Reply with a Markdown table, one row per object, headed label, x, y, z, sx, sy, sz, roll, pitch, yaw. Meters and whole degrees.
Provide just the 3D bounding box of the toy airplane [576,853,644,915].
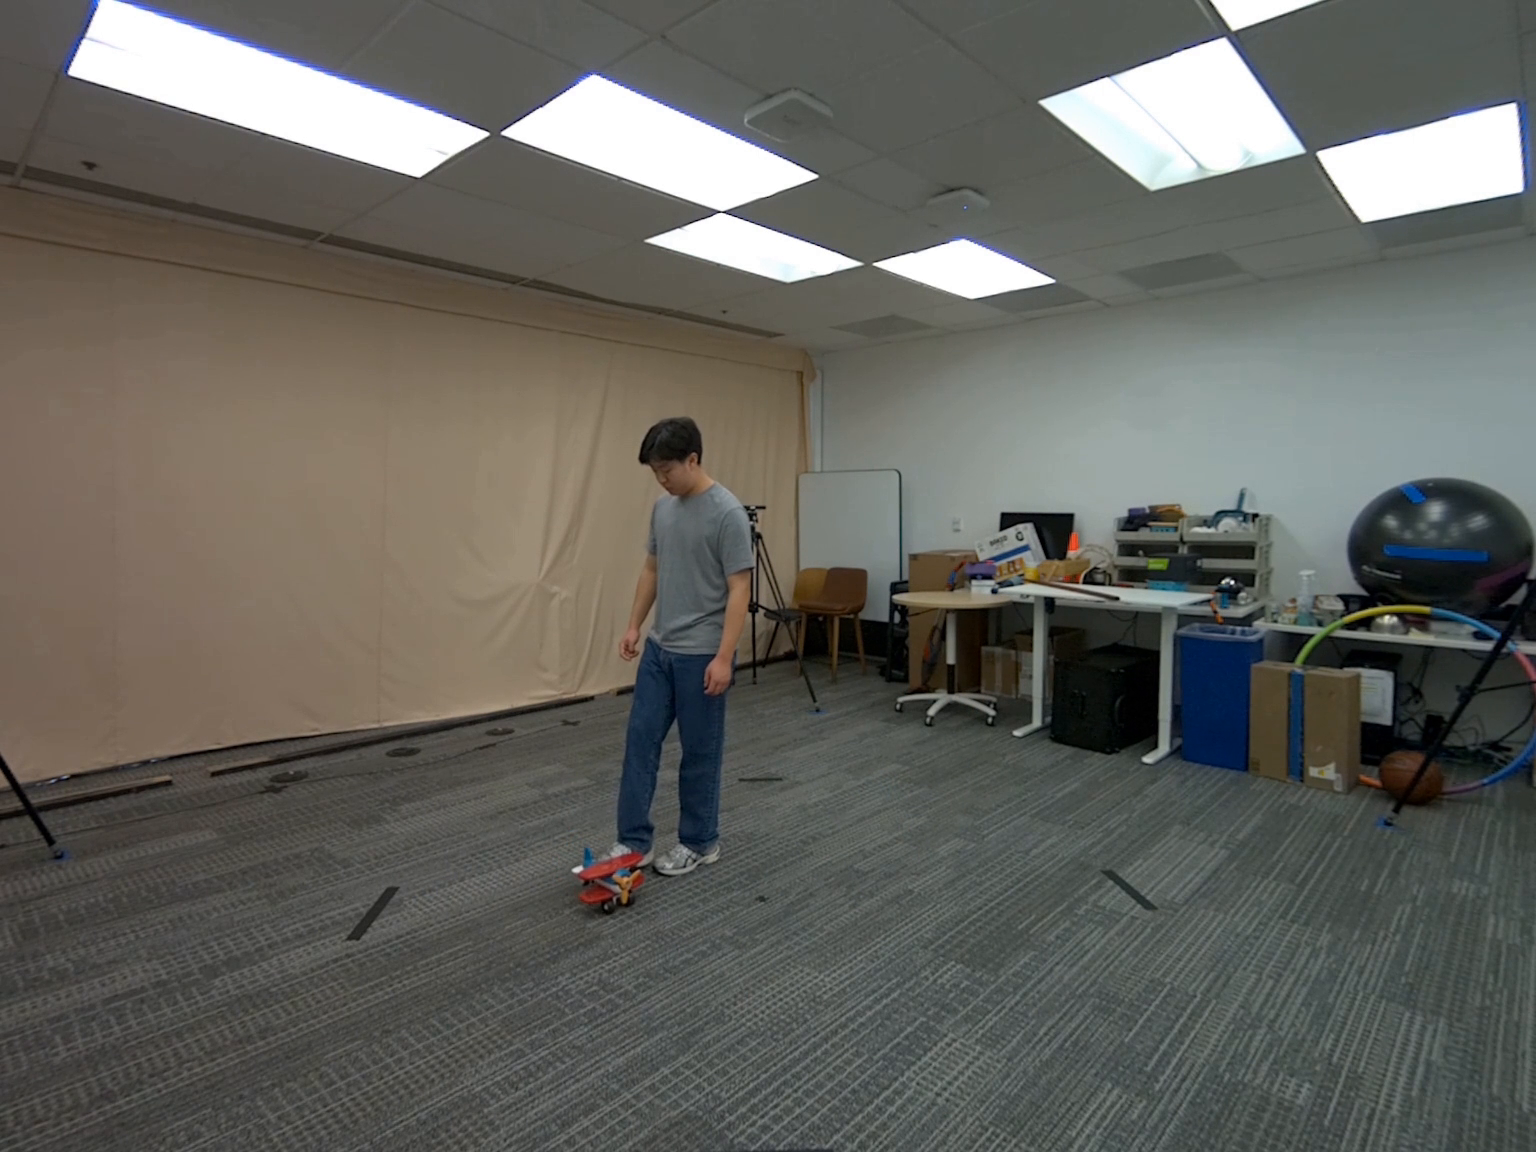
| label | x | y | z | sx | sy | sz | roll | pitch | yaw |
| --- | --- | --- | --- | --- | --- | --- | --- | --- | --- |
| toy airplane | -0.582 | 1.060 | 2.945 | 0.264 | 0.155 | 0.248 | 12 | 13 | 15 |
